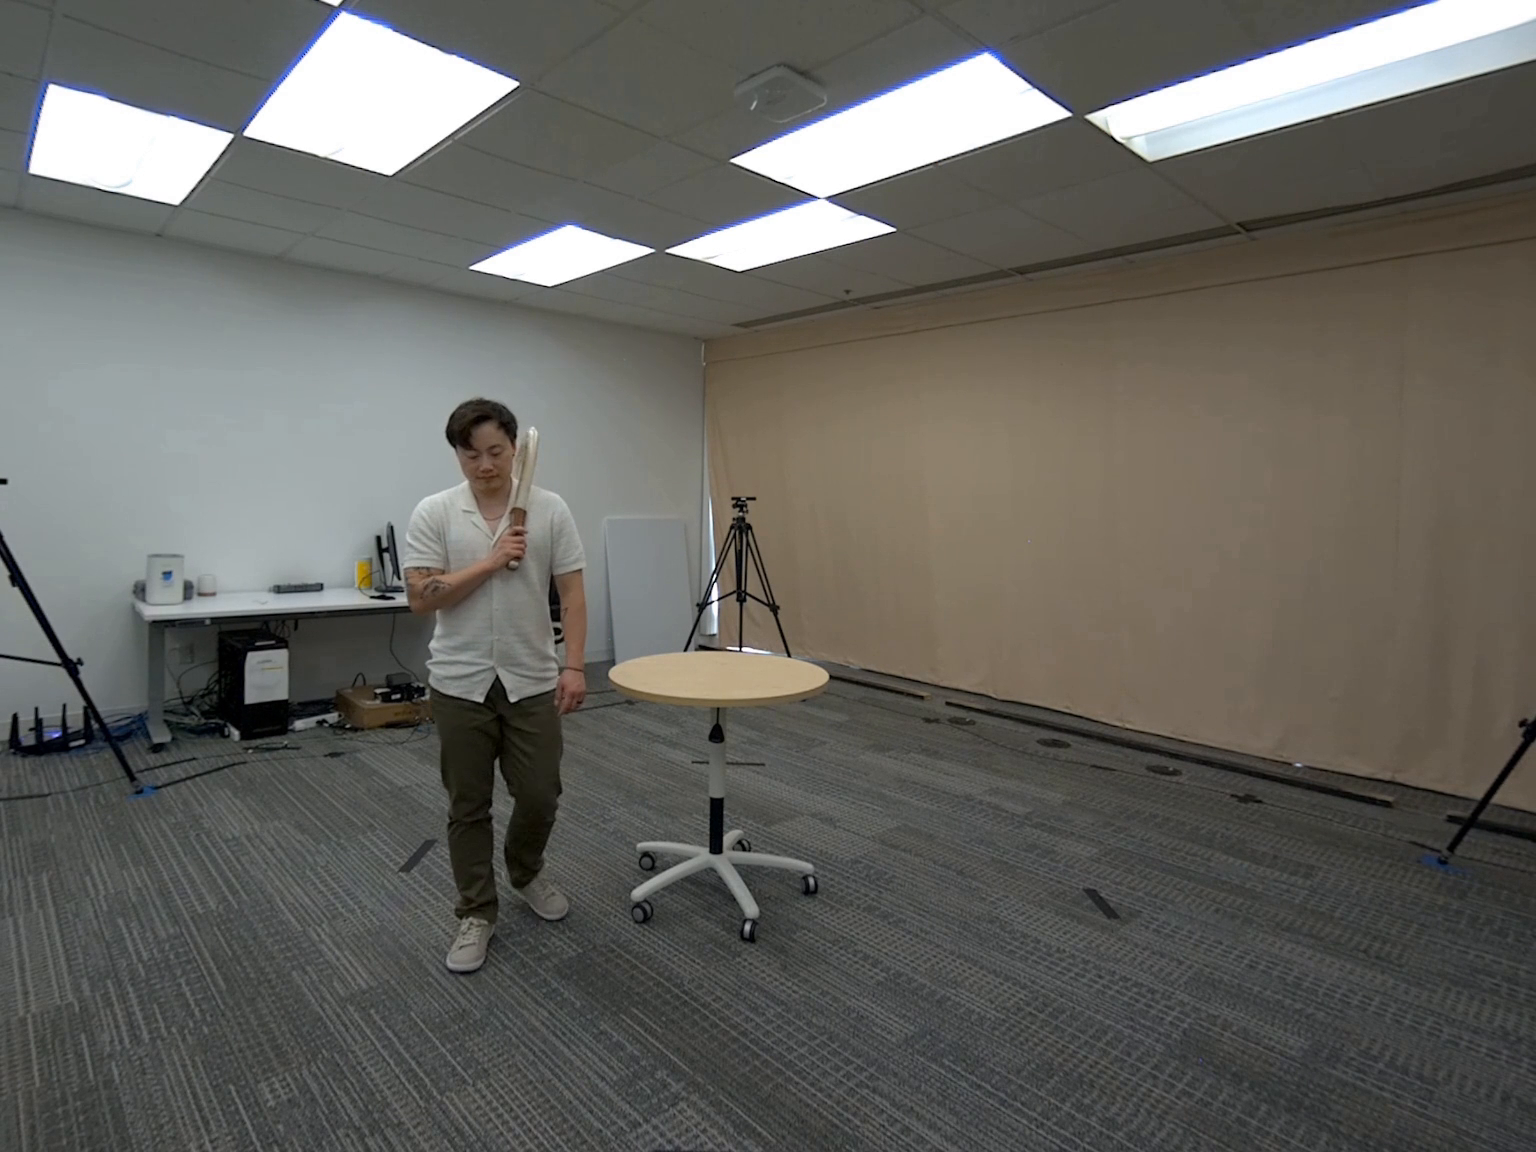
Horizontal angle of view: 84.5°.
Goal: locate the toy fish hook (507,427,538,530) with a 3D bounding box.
[{"bbox_3d":[-0.776,-0.224,2.567,0.047,0.516,0.224,13,-31,-21],"label":"toy fish hook"}]
